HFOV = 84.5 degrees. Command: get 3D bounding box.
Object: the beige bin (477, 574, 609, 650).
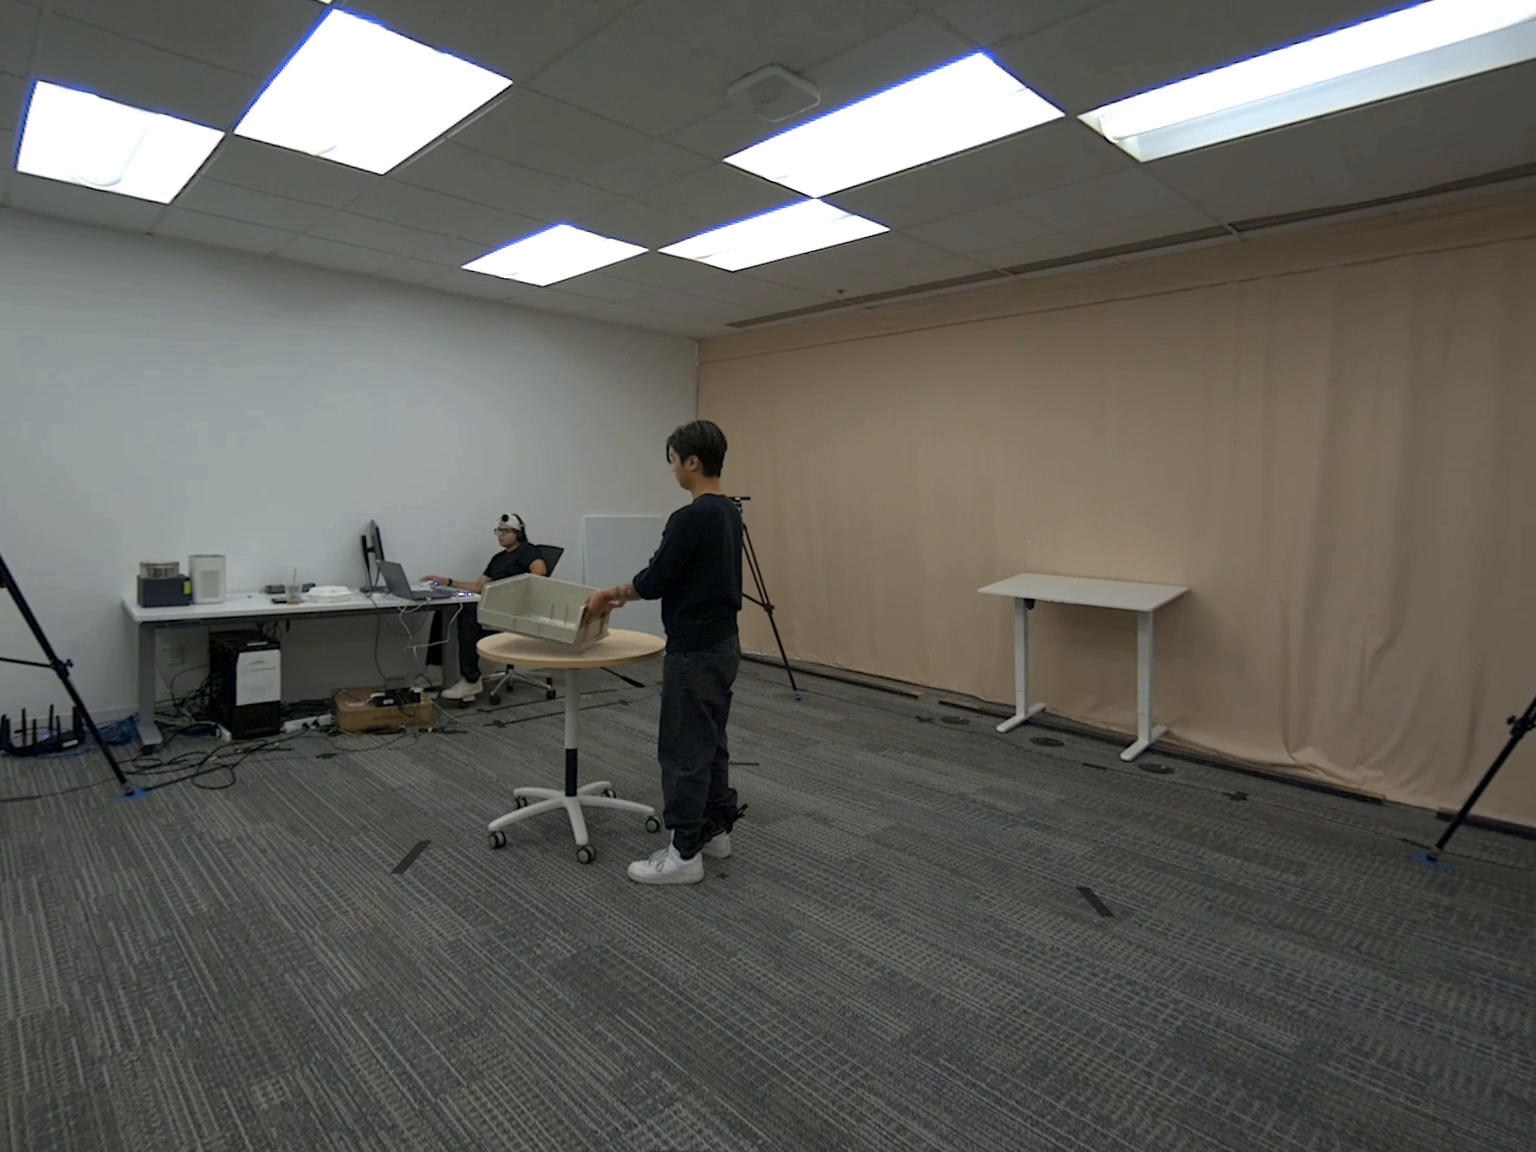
[{"bbox_3d":[-0.874,0.135,3.353,0.426,0.188,0.375,10,6,10],"label":"beige bin"}]
